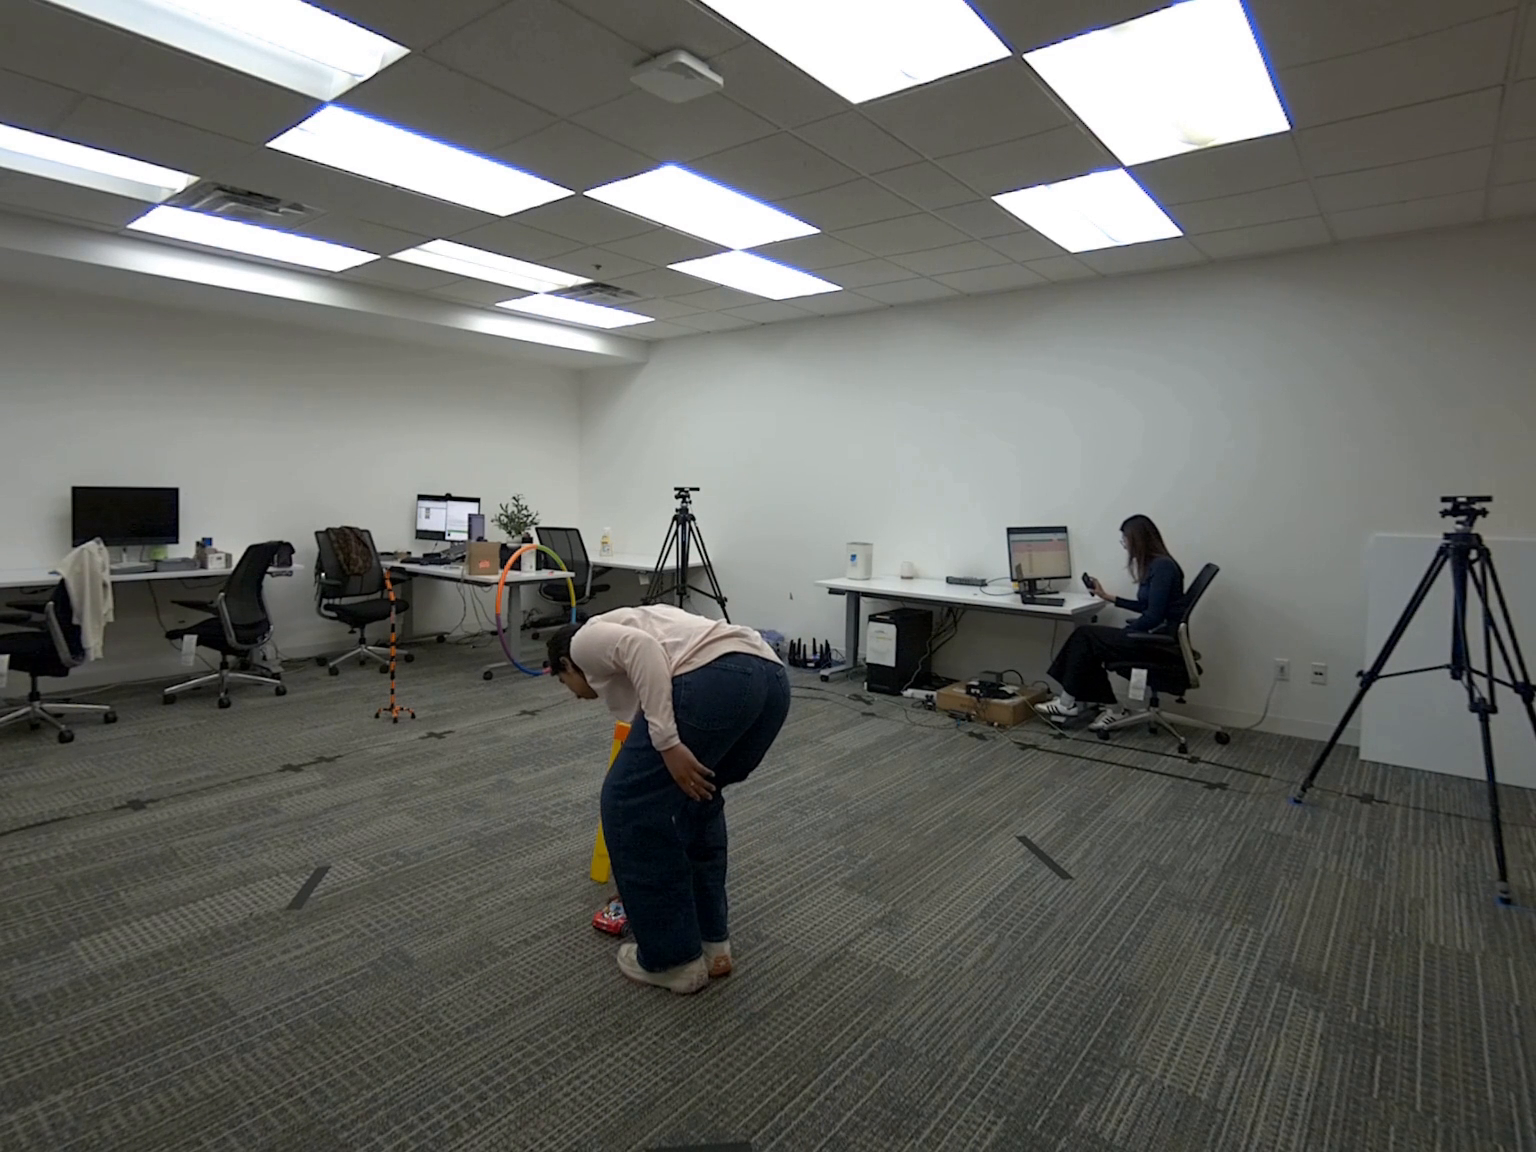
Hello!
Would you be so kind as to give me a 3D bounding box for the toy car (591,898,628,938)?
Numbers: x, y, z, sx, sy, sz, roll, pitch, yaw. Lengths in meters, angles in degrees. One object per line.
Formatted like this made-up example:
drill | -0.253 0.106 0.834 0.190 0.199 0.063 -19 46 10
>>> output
toy car | -0.456 1.067 2.730 0.134 0.082 0.251 4 19 27
